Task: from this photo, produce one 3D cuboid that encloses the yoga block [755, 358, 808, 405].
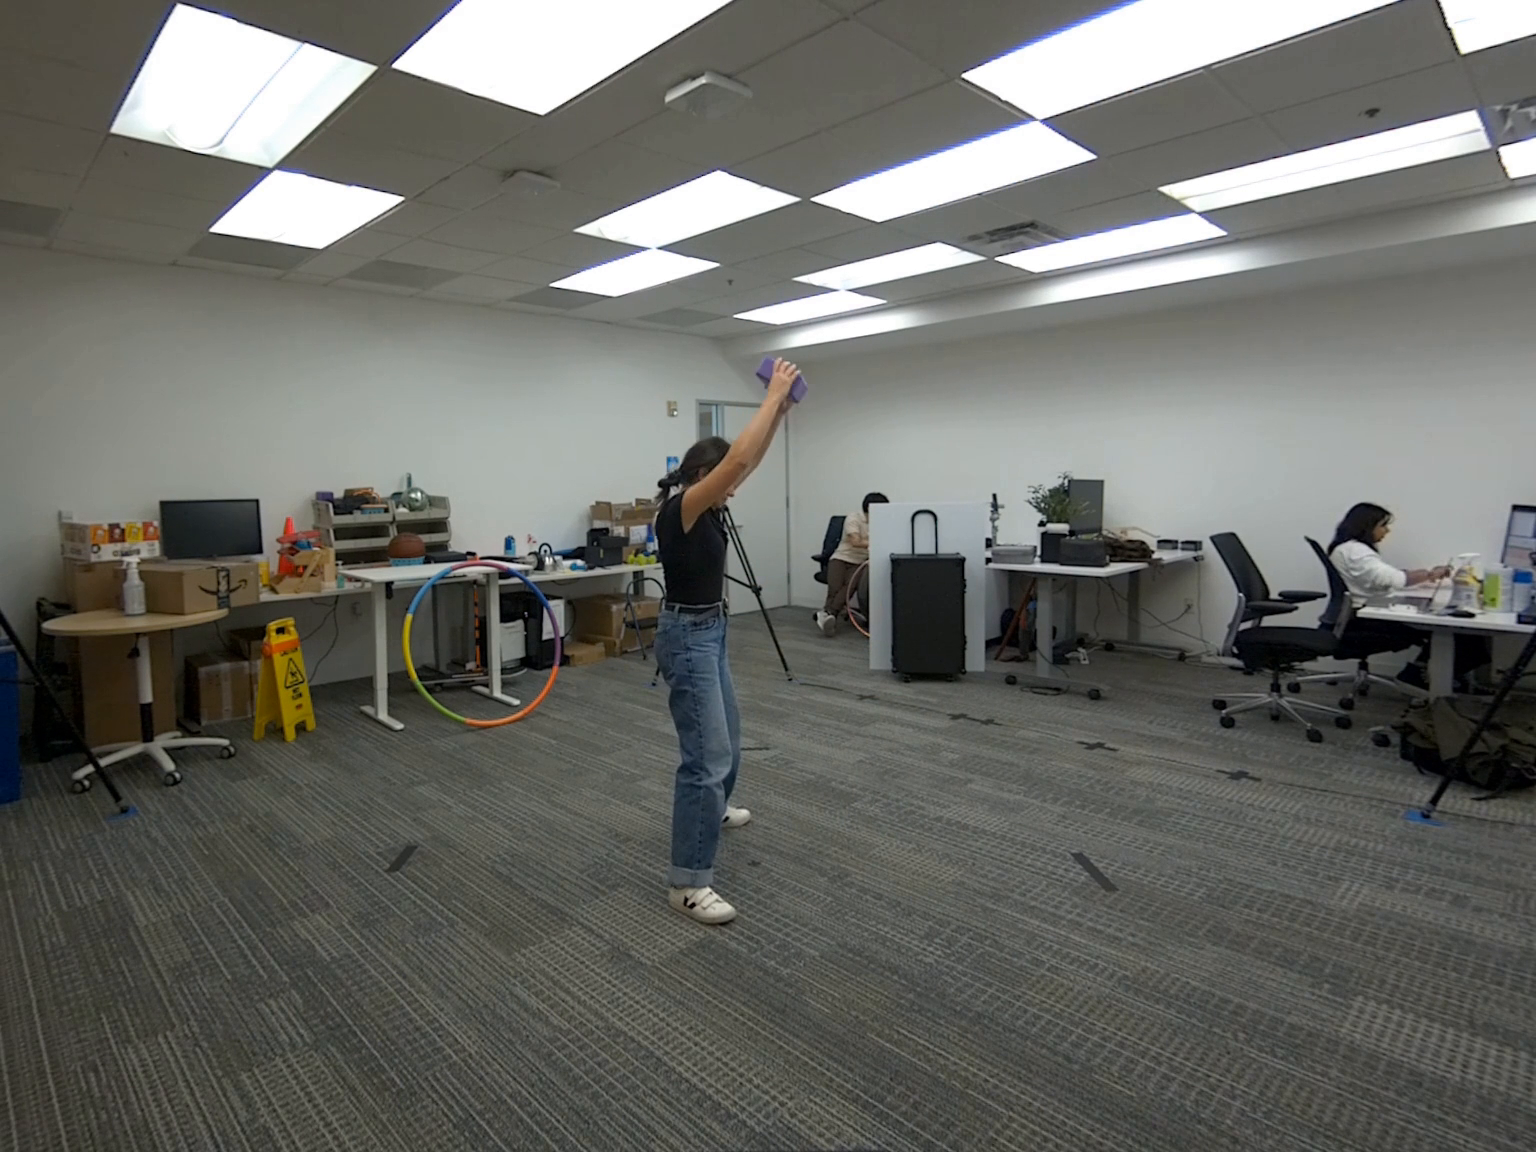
[{"bbox_3d":[0.061,-0.661,2.951,0.151,0.076,0.227,32,7,8],"label":"yoga block"}]
